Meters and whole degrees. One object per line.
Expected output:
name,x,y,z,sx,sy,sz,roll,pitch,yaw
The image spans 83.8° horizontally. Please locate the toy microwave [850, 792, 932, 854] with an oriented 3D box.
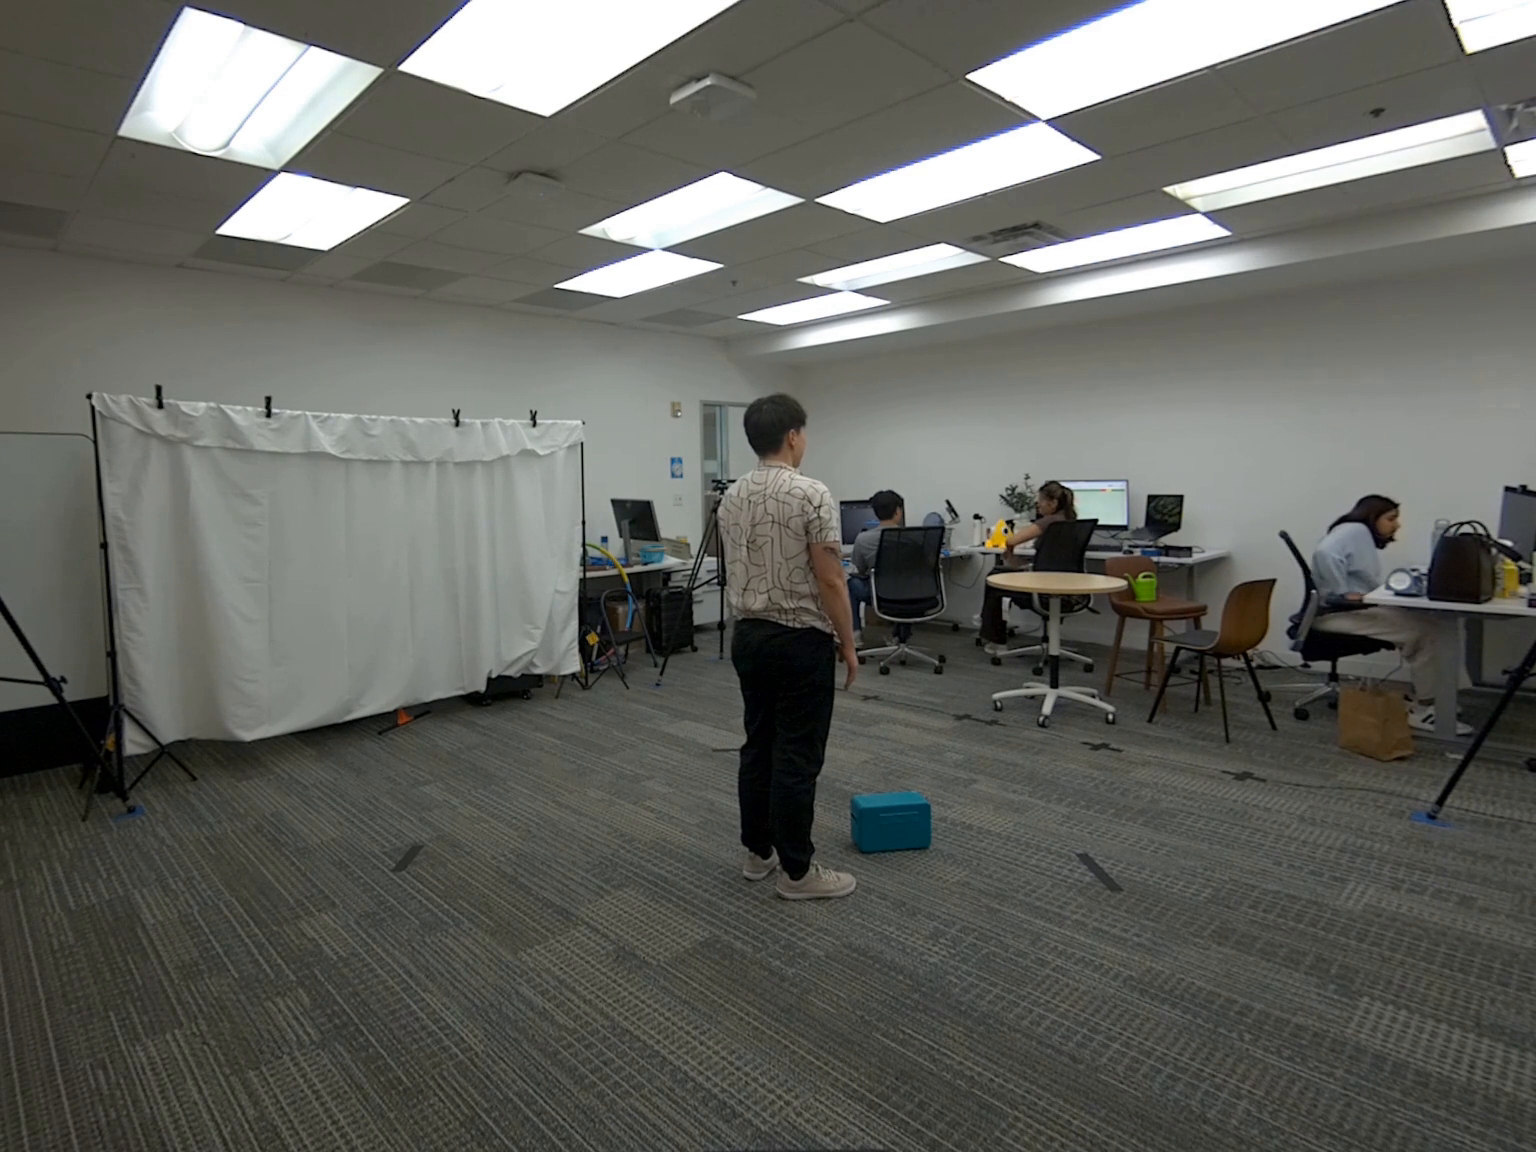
toy microwave,0.467,0.930,3.250,0.284,0.183,0.154,-2,5,-9
